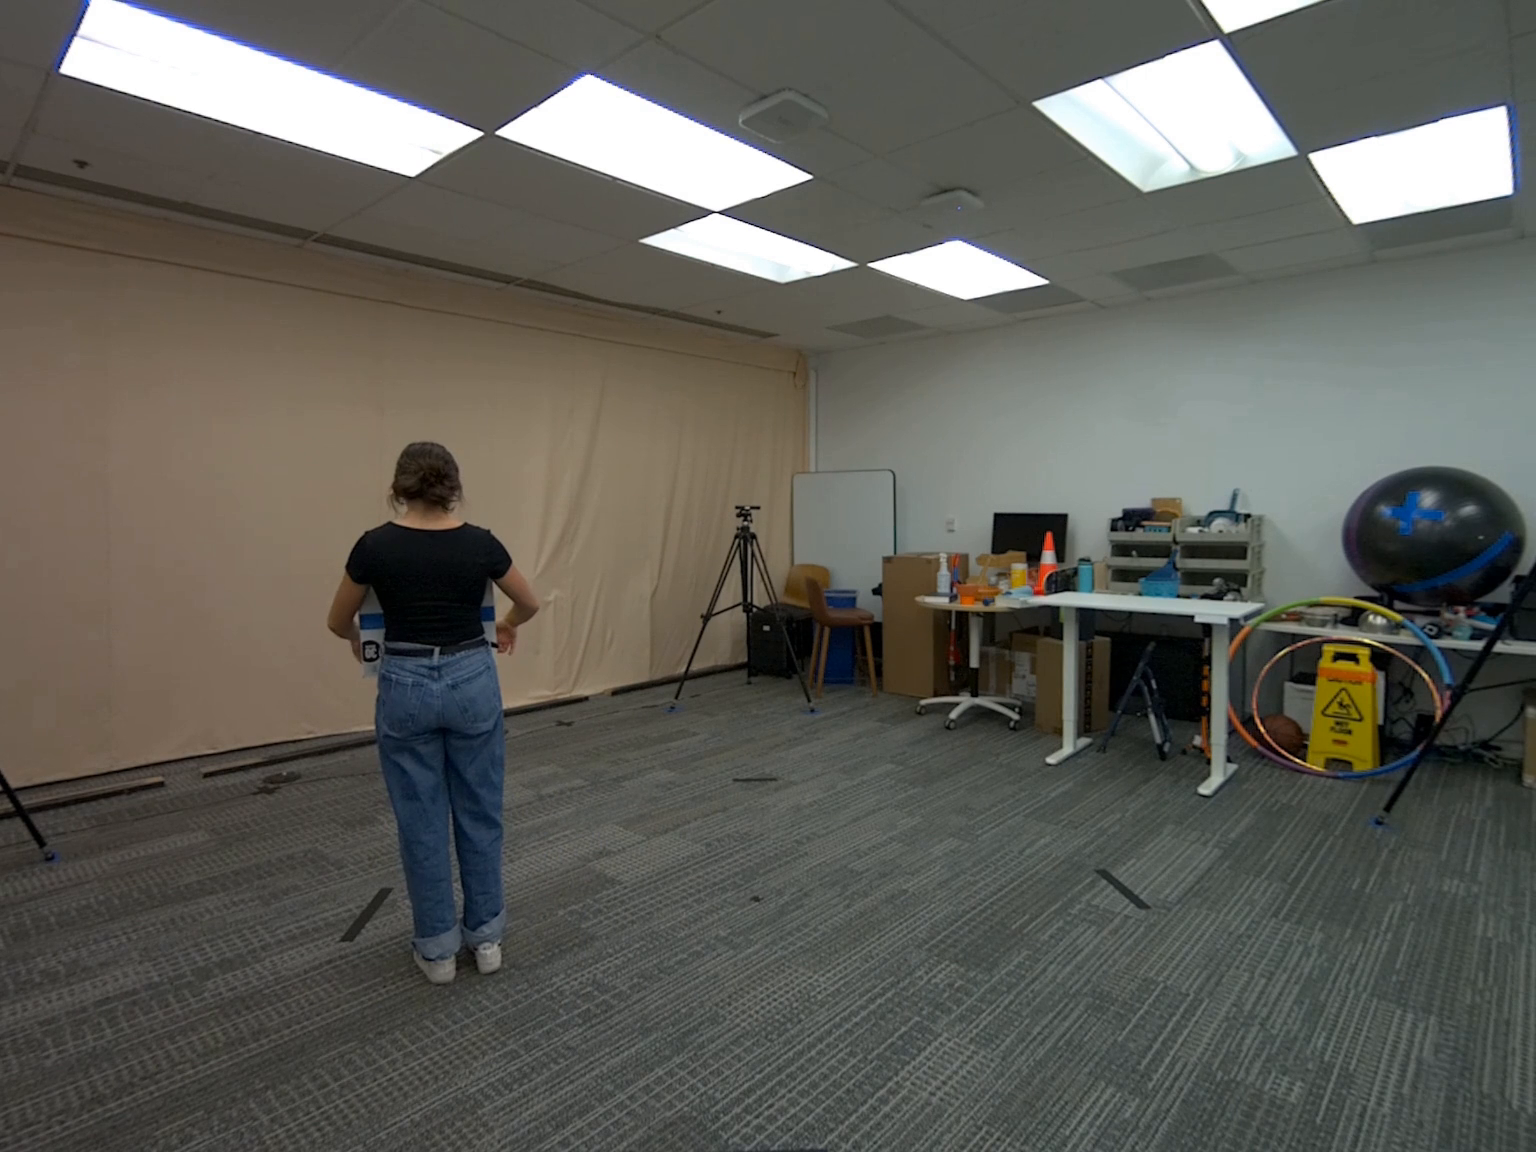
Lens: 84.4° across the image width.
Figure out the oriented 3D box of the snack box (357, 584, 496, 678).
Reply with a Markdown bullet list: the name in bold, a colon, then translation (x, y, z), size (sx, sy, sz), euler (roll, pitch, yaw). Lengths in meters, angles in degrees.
- **snack box**: translation (-1.085, 0.115, 2.702), size (0.400, 0.338, 0.209), euler (-2, 8, -12)
